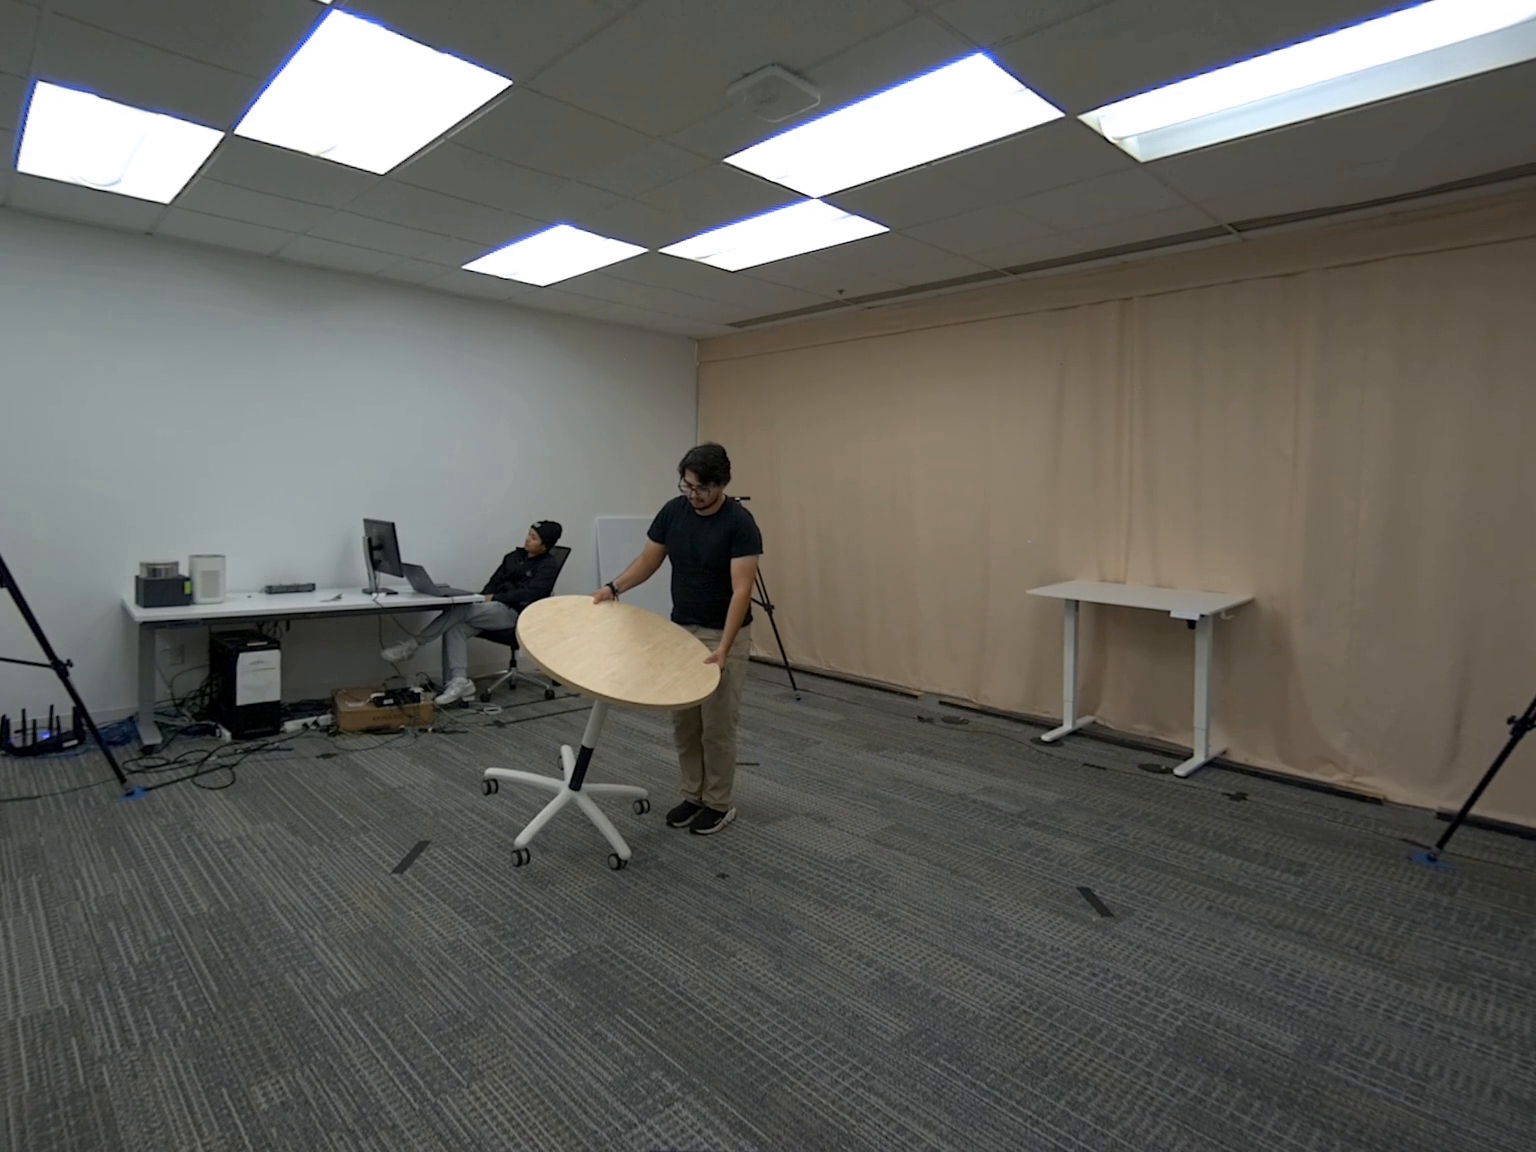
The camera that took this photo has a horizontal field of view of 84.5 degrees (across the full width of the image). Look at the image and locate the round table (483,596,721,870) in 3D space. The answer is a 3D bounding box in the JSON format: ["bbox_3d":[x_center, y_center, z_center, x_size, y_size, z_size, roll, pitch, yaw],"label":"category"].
[{"bbox_3d":[-0.694,0.600,3.214,0.780,0.781,0.796,18,17,-7],"label":"round table"}]
